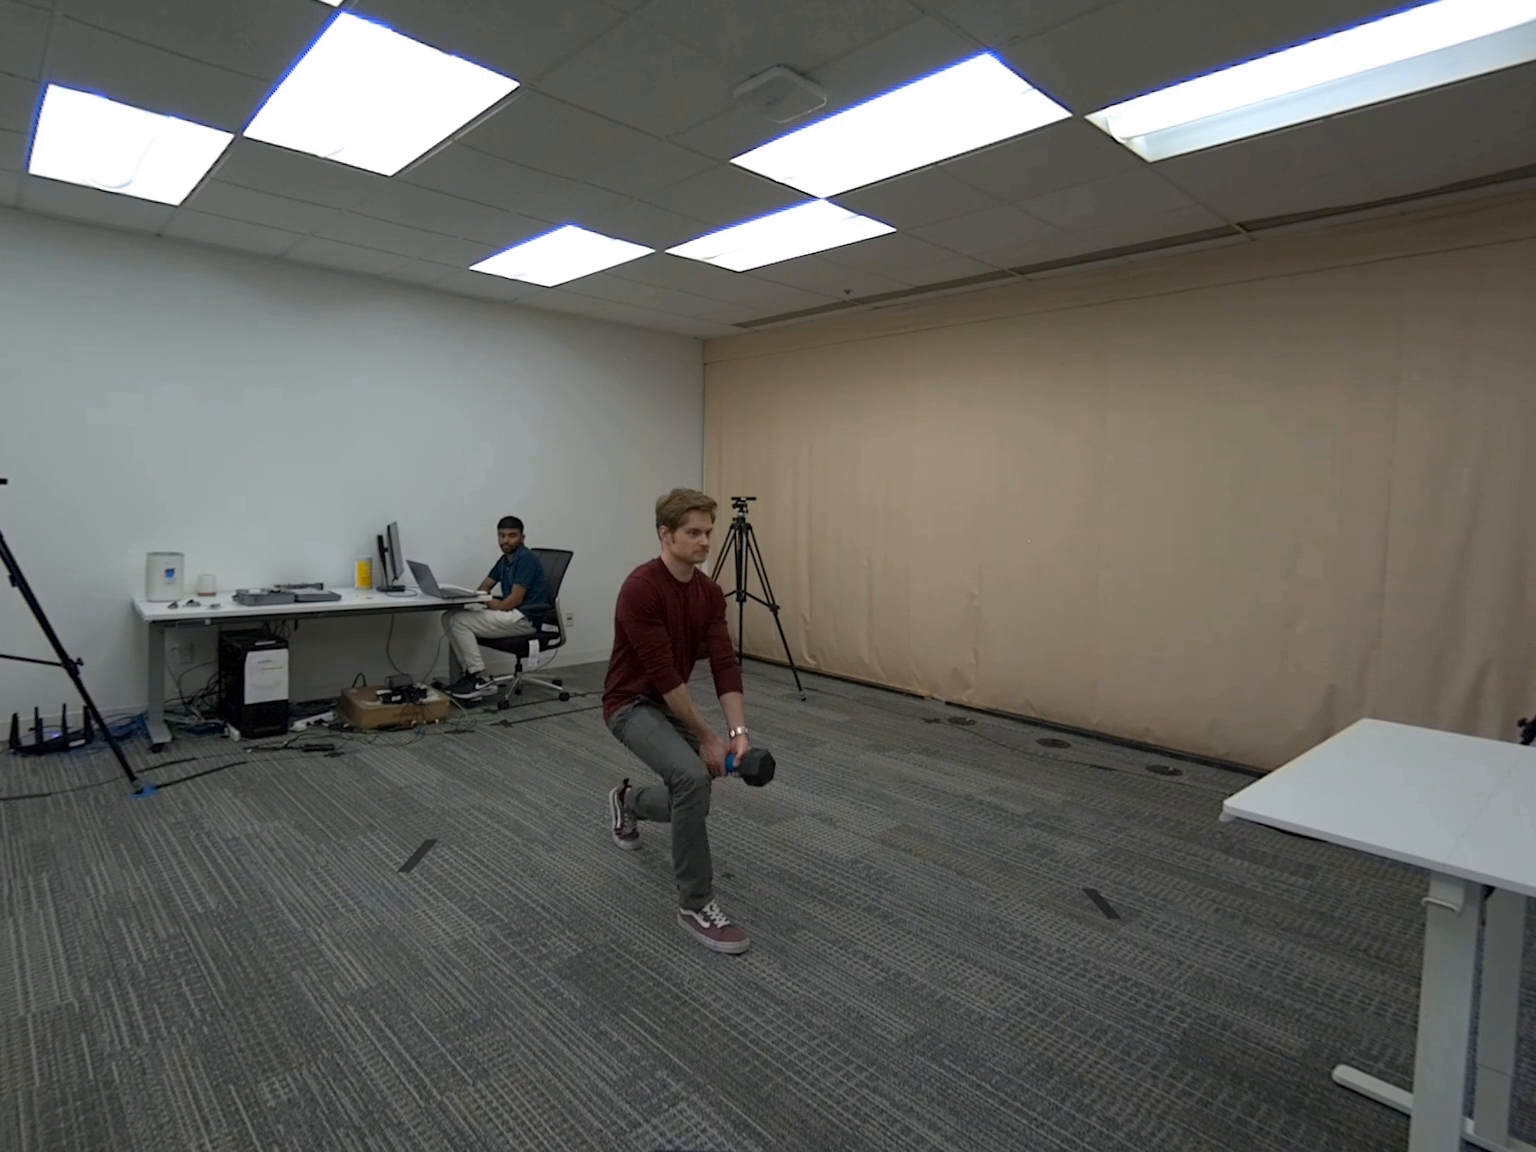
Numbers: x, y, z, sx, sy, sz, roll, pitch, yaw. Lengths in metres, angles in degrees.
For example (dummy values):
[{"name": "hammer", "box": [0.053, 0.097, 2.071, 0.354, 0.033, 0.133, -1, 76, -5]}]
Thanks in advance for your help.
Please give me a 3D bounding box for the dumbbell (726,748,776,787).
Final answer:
[{"name": "dumbbell", "box": [-0.142, 0.625, 2.805, 0.300, 0.120, 0.109, -5, 39, 37]}]
